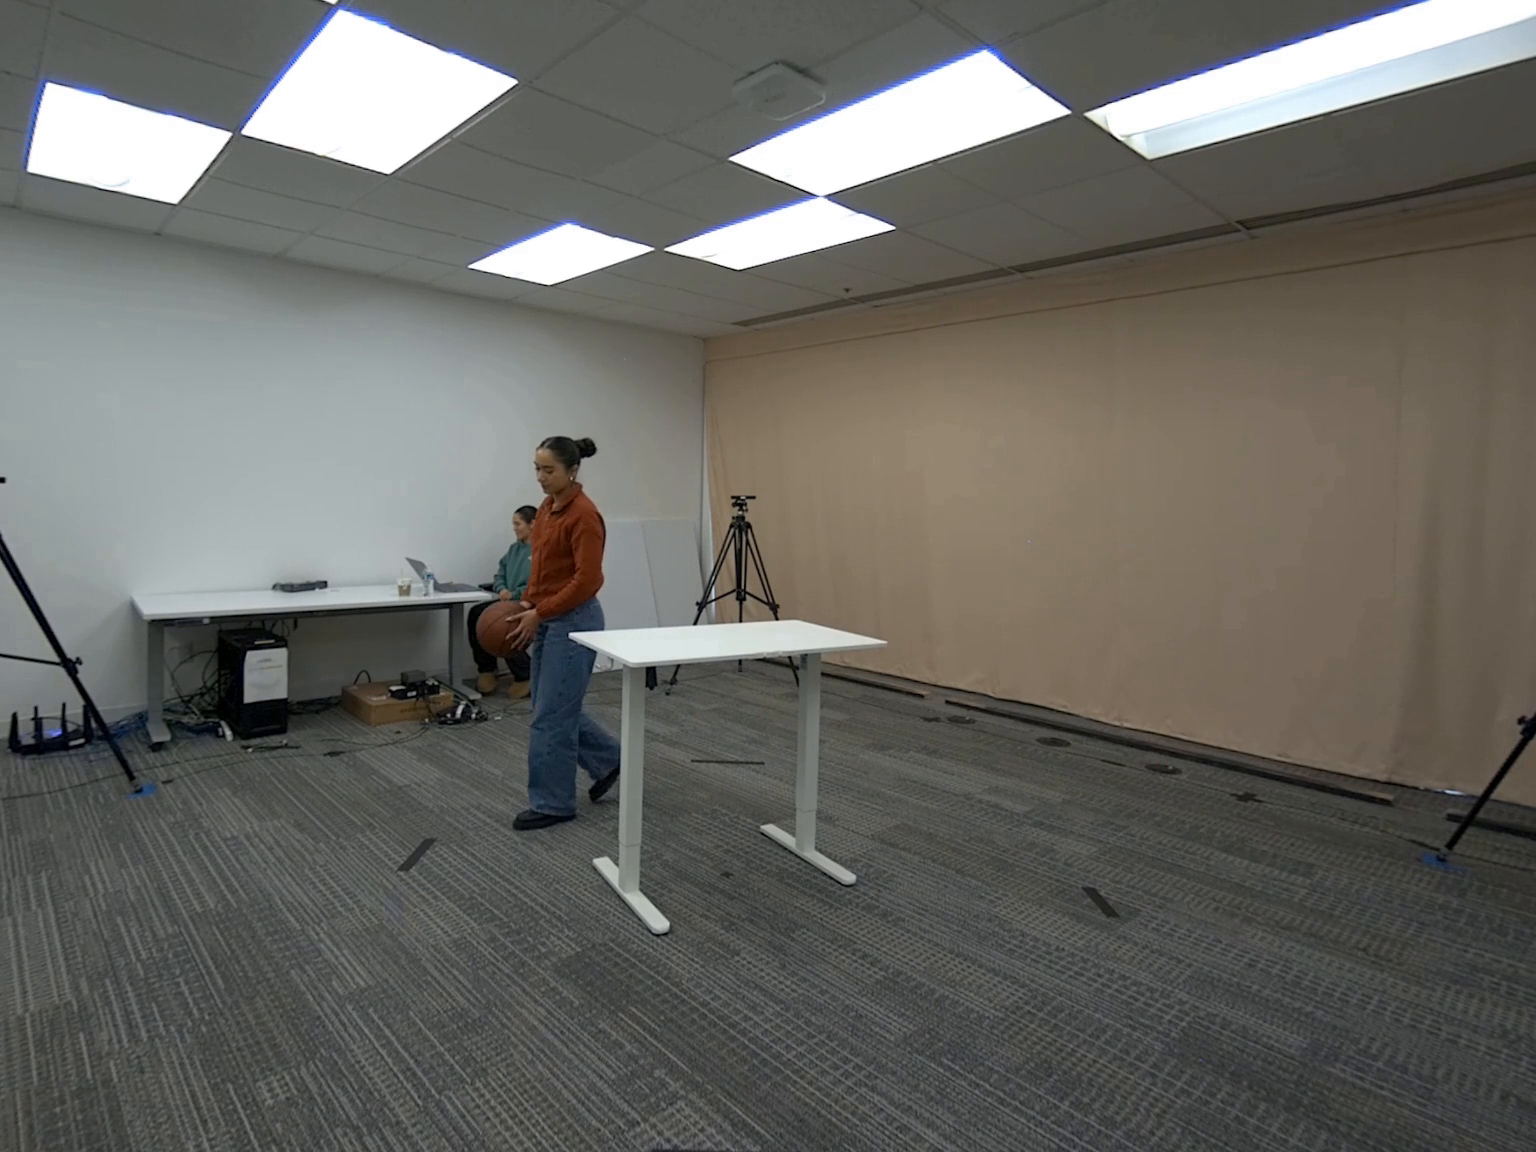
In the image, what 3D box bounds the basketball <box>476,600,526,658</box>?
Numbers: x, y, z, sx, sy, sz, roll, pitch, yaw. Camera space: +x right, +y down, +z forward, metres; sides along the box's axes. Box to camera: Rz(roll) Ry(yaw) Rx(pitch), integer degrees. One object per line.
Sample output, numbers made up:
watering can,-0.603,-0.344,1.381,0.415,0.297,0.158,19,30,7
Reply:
basketball,-1.074,0.215,3.473,0.236,0.235,0.237,1,4,-1
